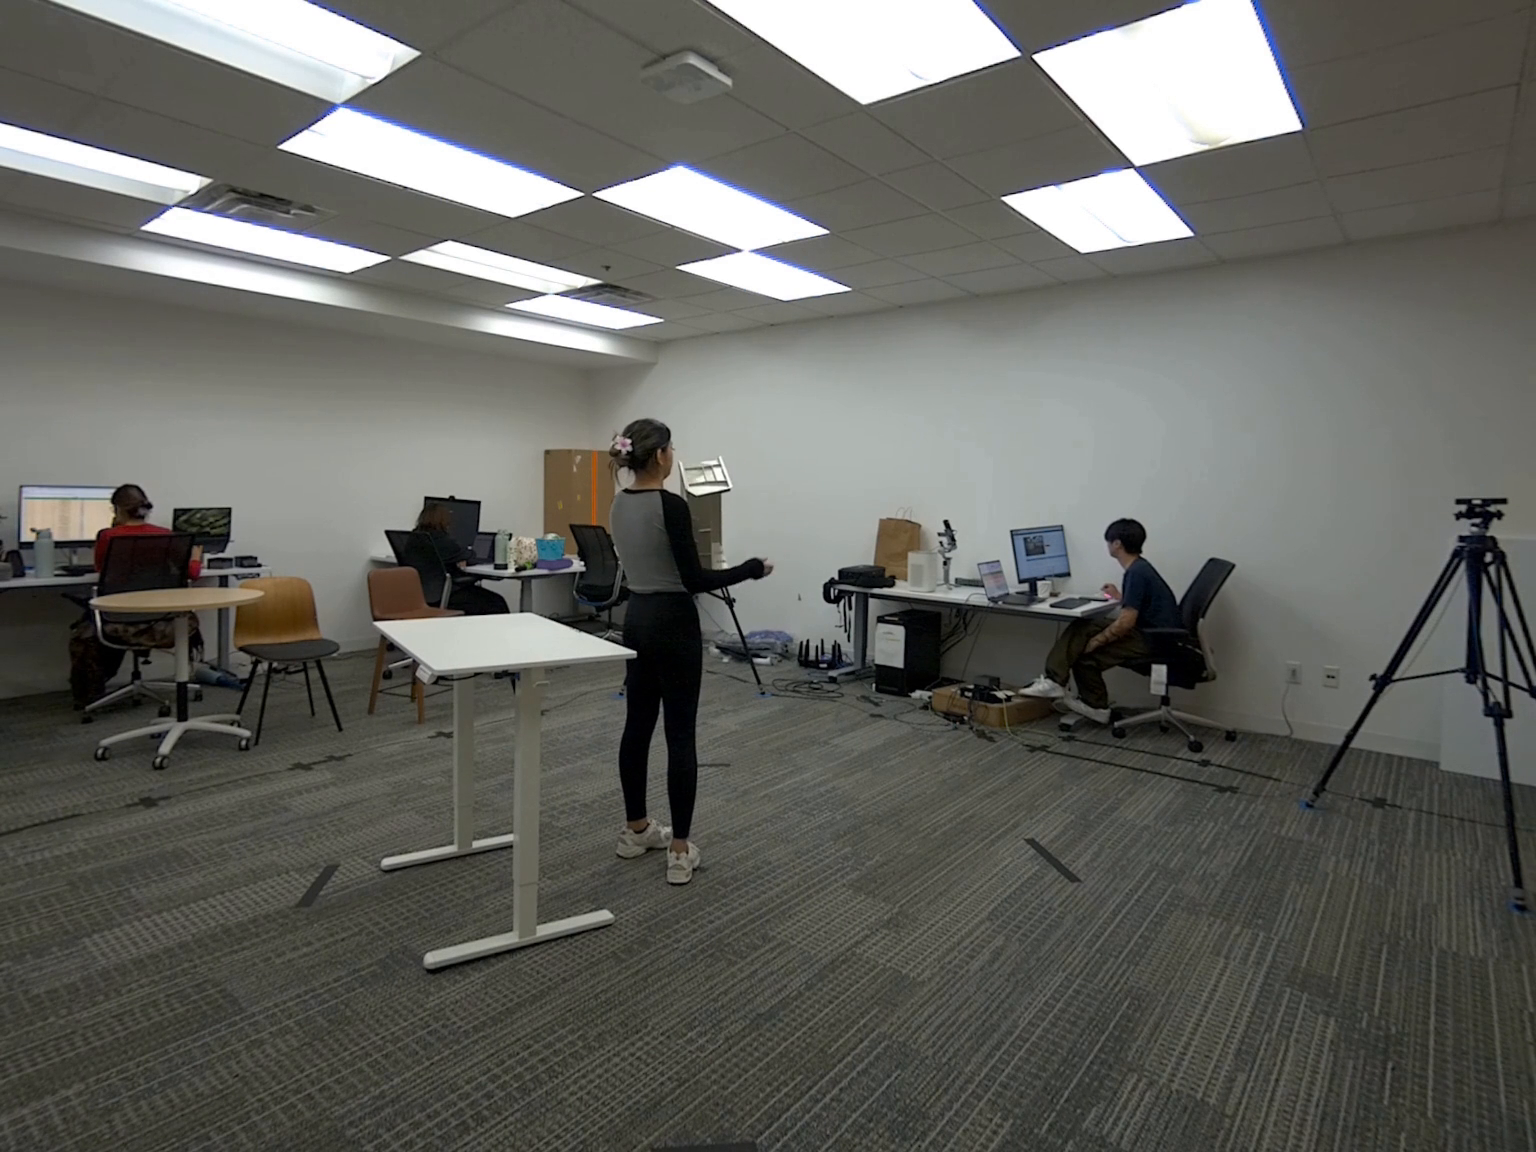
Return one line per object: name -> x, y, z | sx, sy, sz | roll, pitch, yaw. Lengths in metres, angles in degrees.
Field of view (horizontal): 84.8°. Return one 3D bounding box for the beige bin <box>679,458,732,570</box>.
beige bin -> -0.266, -0.221, 3.443 | 0.187, 0.413, 0.389 | -3, 28, -9
